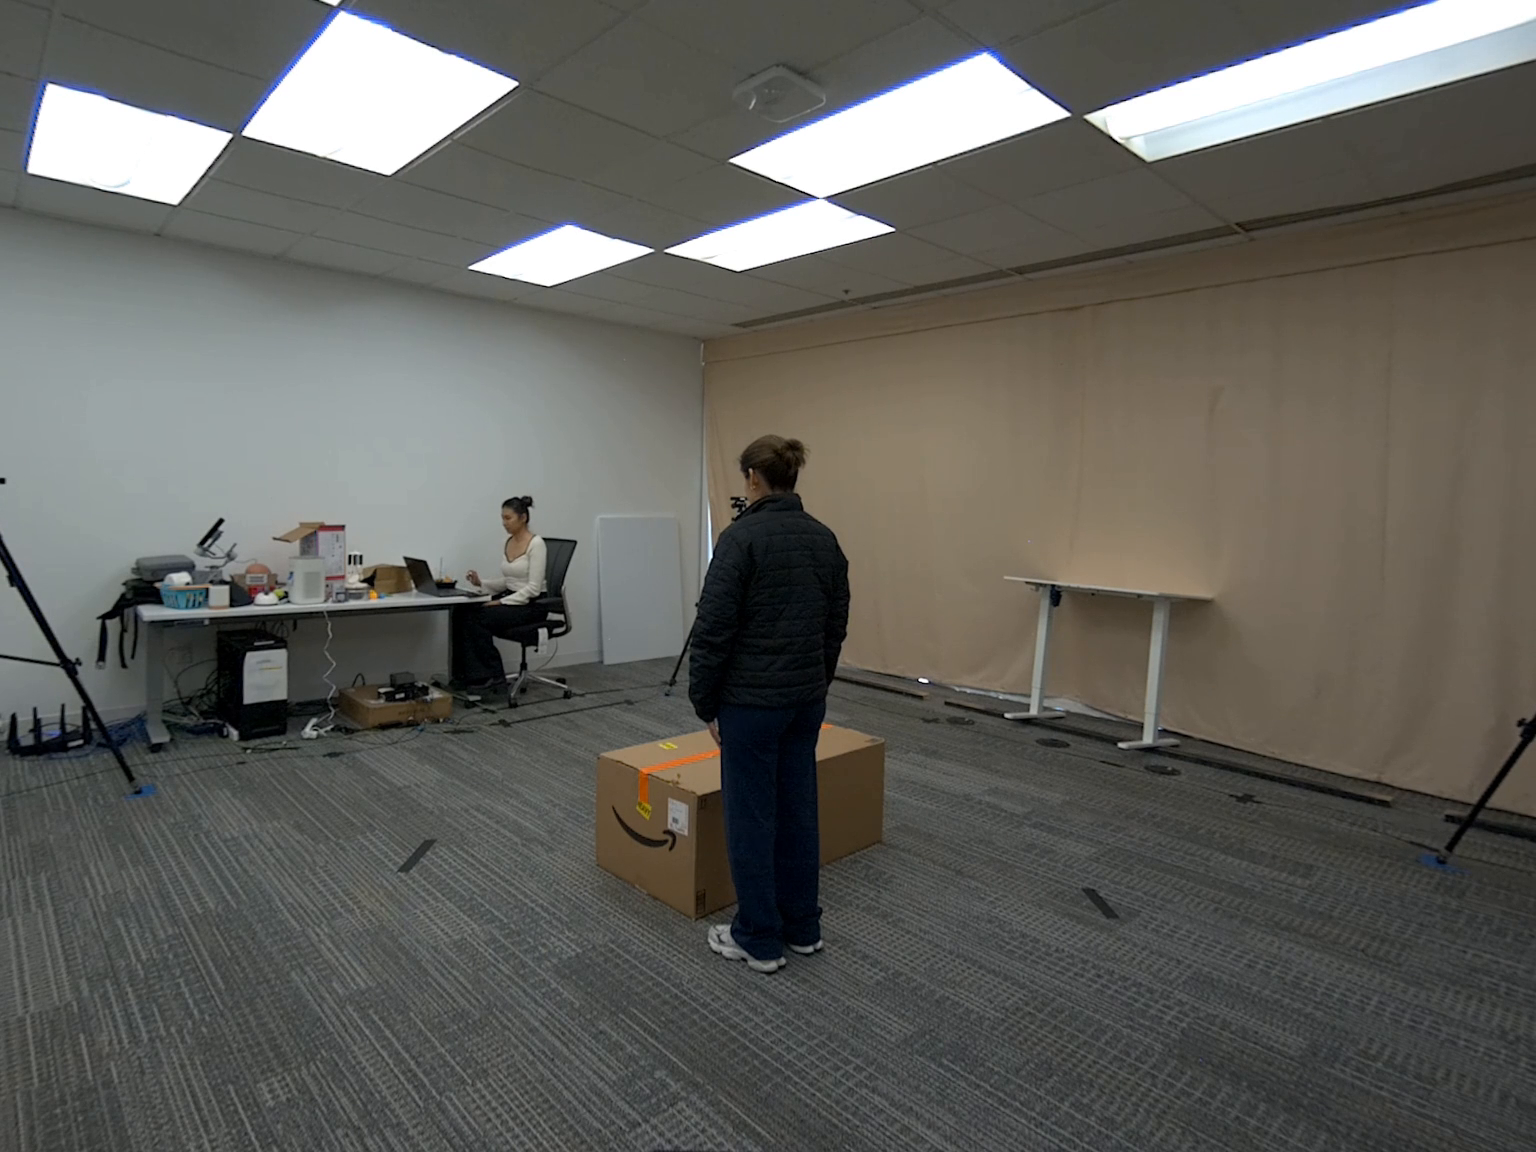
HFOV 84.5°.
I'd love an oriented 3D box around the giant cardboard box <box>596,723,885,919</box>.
[{"bbox_3d":[-0.090,0.883,3.295,1.003,0.445,0.599,-2,7,-45],"label":"giant cardboard box"}]
